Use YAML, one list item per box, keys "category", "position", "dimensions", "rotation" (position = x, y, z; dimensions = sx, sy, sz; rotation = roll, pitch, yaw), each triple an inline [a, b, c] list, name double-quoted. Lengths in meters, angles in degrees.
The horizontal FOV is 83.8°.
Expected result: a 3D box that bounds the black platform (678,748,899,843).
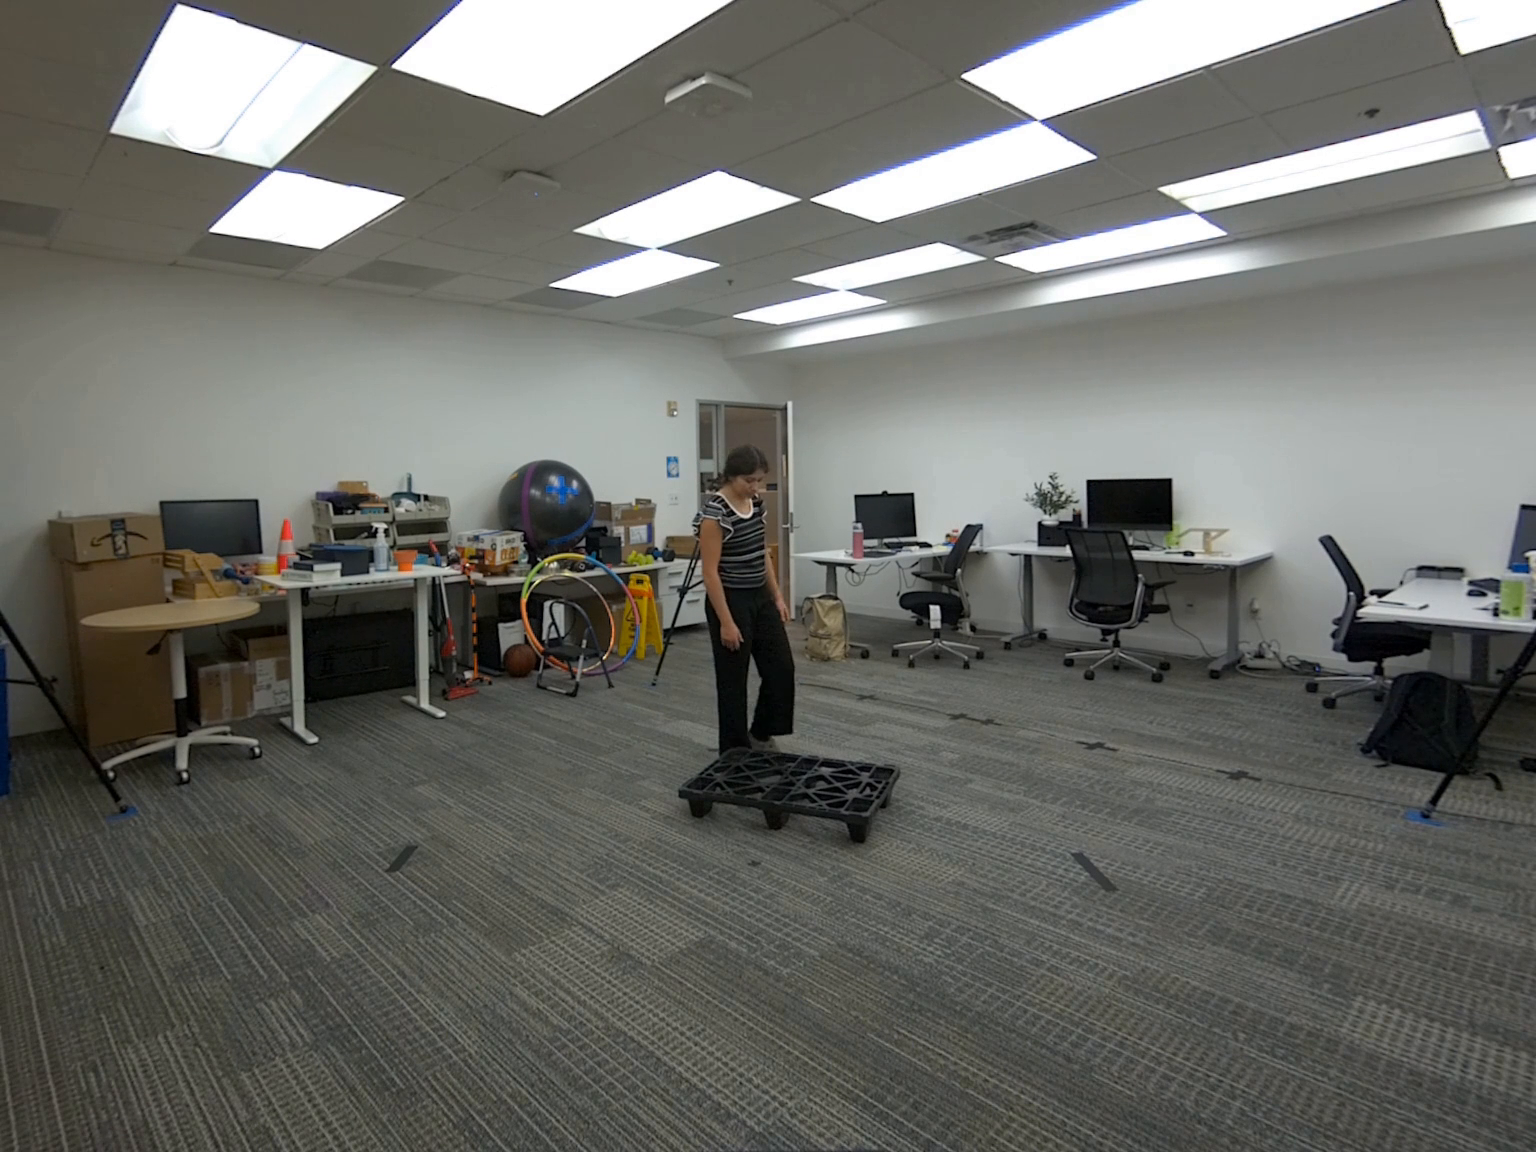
- category: "black platform"
  position: [0.106, 0.915, 3.612]
  dimensions: [0.823, 0.142, 0.595]
  rotation: [1, 7, 22]
